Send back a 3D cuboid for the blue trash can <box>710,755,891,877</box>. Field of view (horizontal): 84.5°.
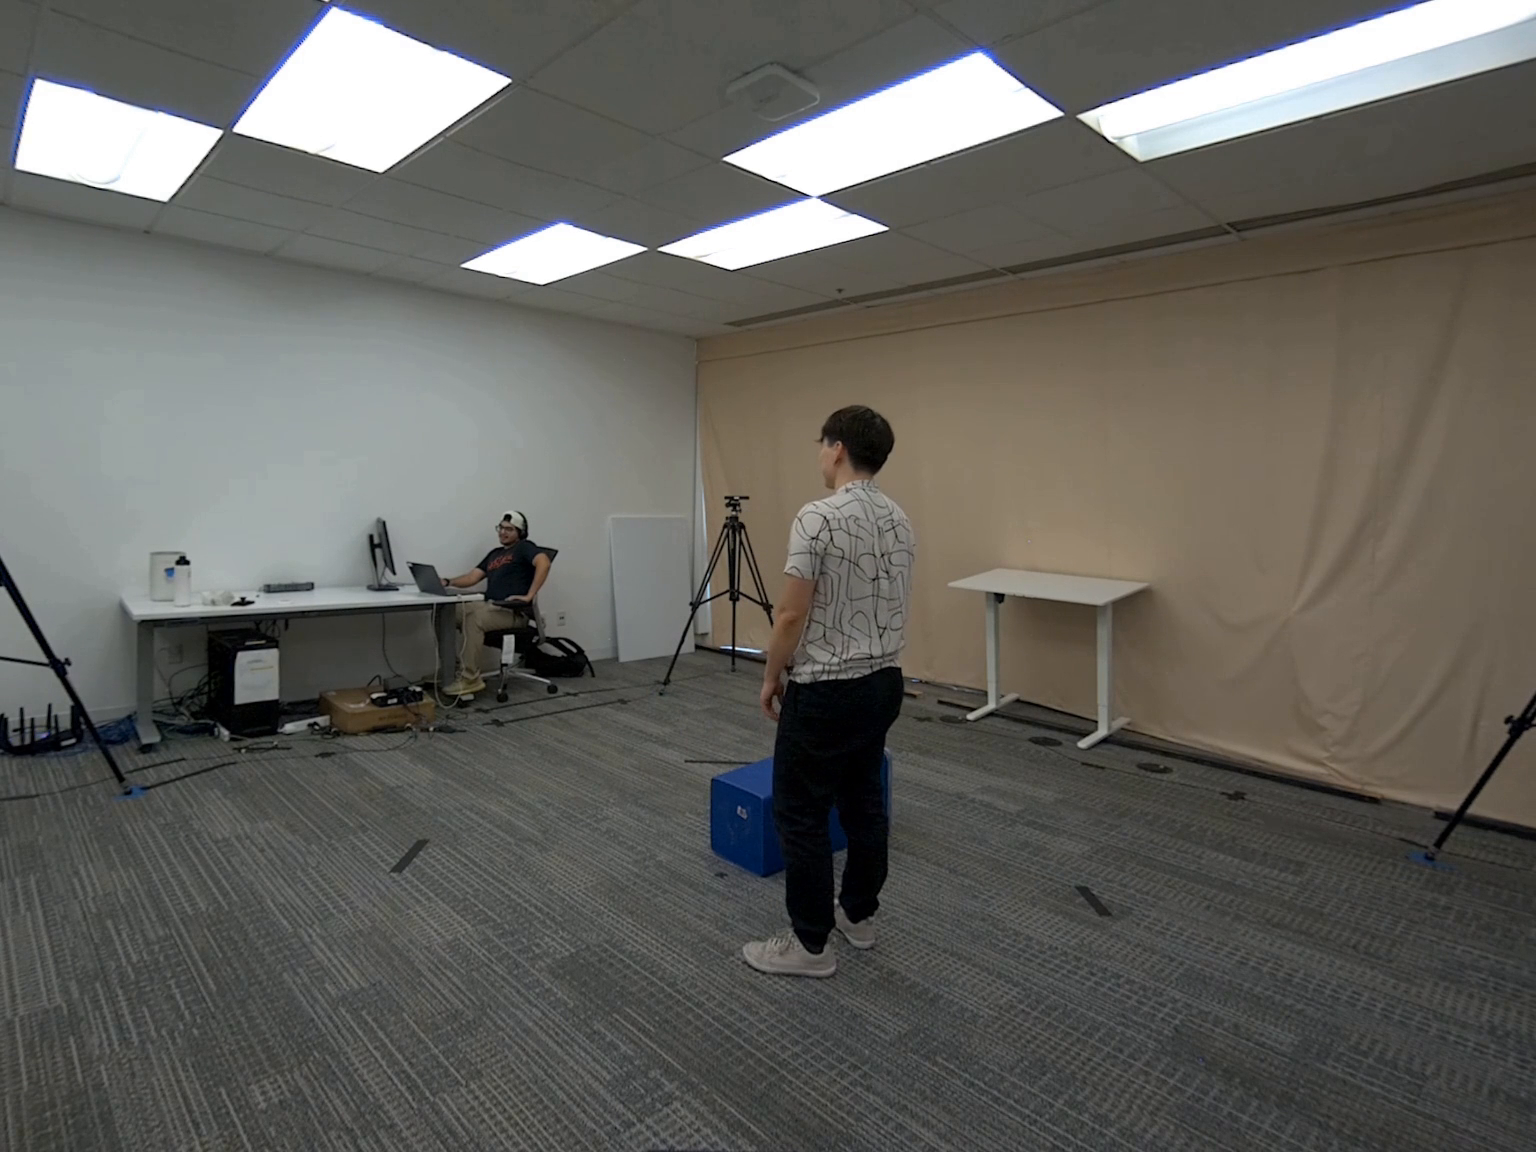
[{"bbox_3d":[0.125,0.913,3.414,0.698,0.377,0.384,-5,7,-41],"label":"blue trash can"}]
